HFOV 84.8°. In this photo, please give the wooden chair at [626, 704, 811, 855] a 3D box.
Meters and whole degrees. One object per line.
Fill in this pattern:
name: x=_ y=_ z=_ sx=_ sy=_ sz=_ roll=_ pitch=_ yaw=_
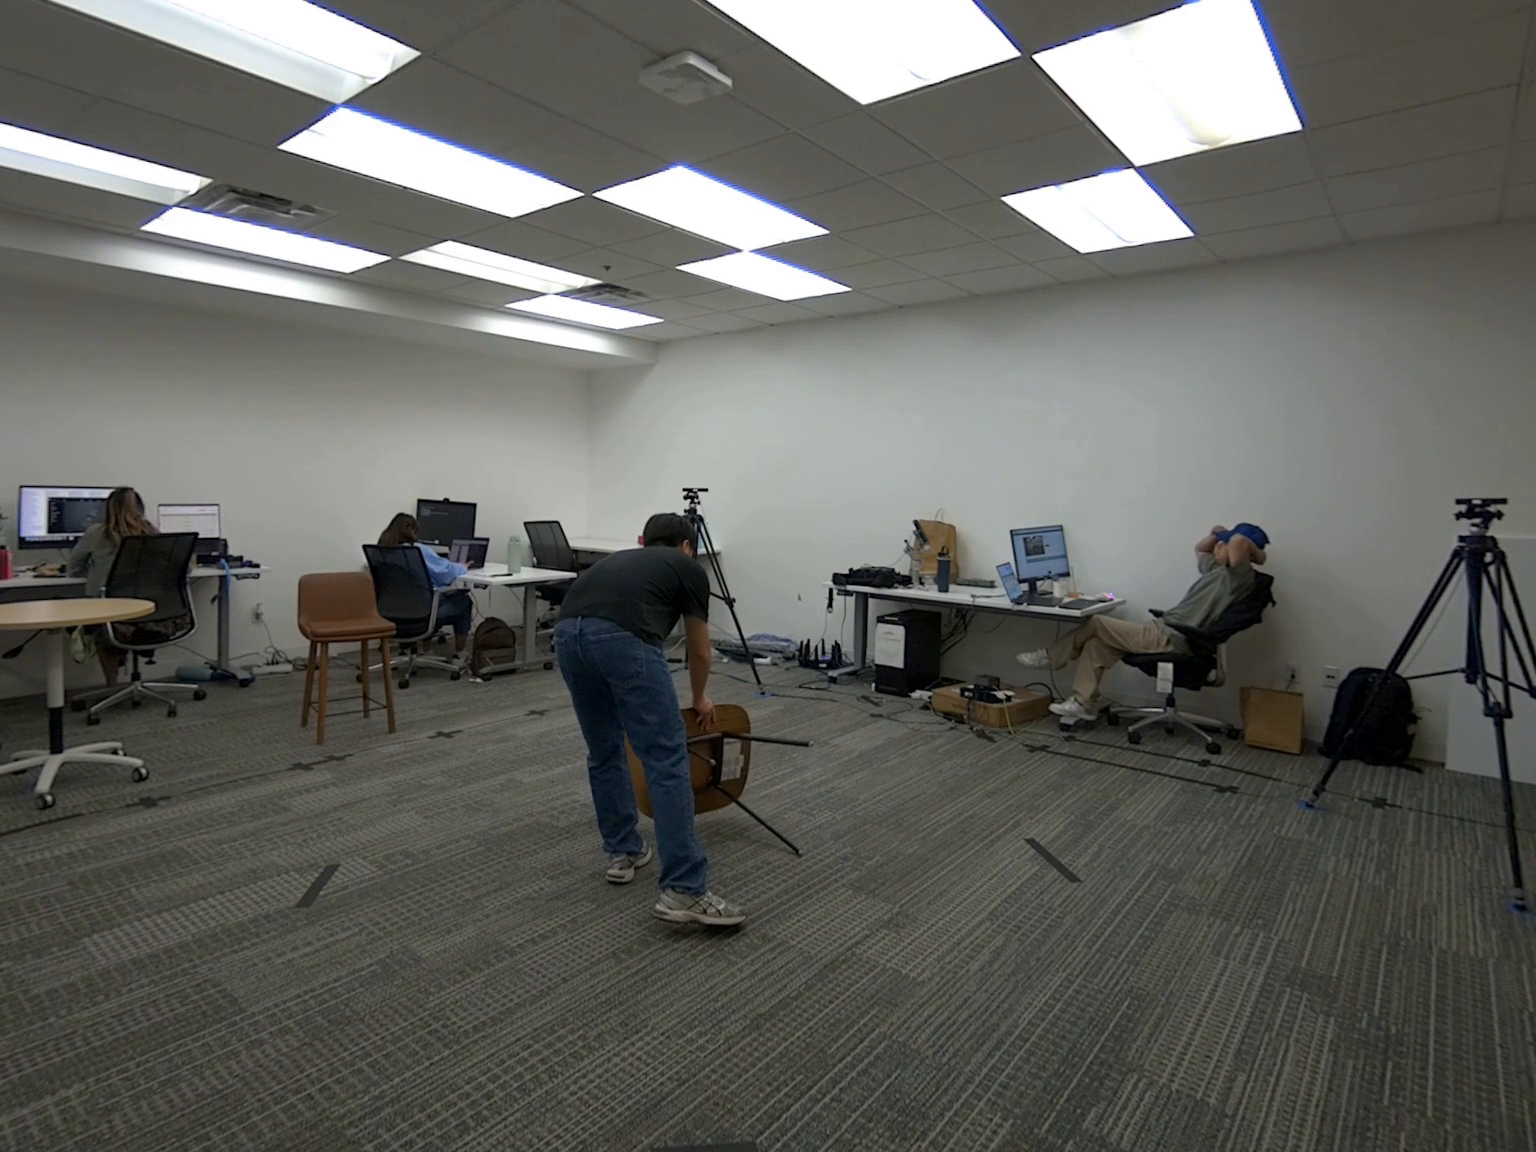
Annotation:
wooden chair: x=-0.282 y=0.770 z=3.454 sx=0.508 sy=0.474 sz=0.910 roll=-4 pitch=12 yaw=-39
